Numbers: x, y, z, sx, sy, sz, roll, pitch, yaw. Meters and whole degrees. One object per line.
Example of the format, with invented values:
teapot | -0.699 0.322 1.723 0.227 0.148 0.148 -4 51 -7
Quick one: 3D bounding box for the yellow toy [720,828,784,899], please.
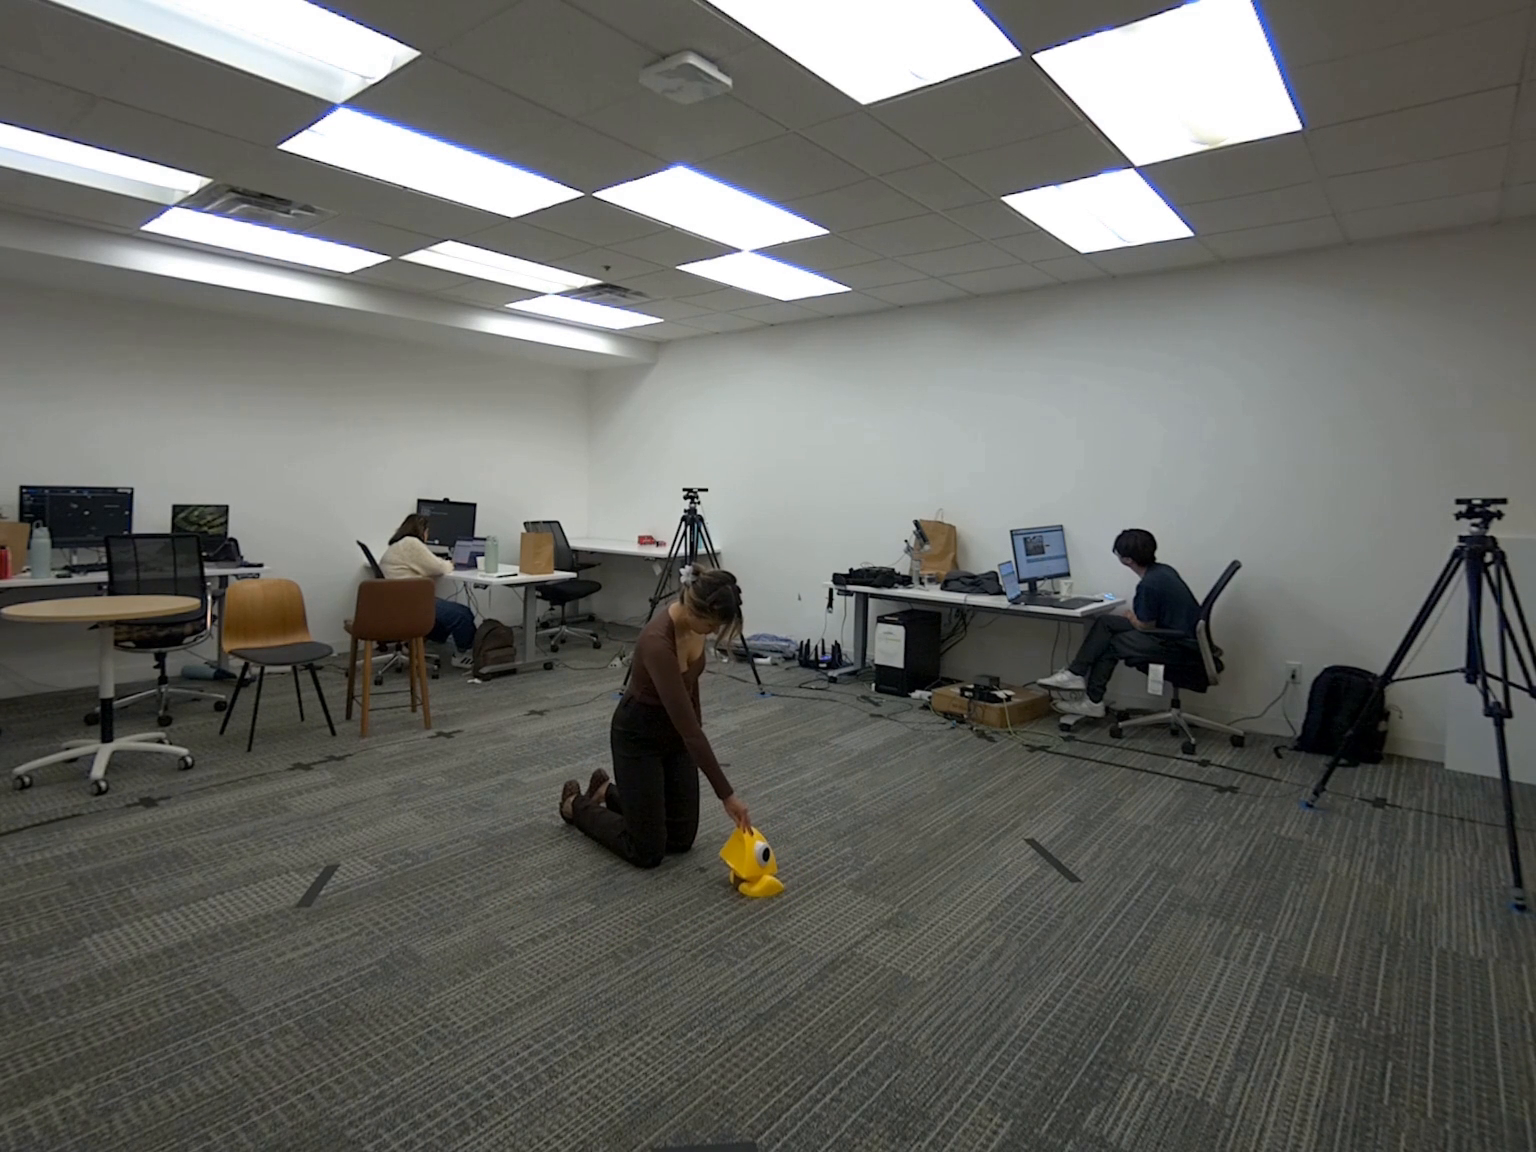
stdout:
yellow toy | -0.059 0.972 2.991 0.188 0.230 0.210 -1 4 -26
